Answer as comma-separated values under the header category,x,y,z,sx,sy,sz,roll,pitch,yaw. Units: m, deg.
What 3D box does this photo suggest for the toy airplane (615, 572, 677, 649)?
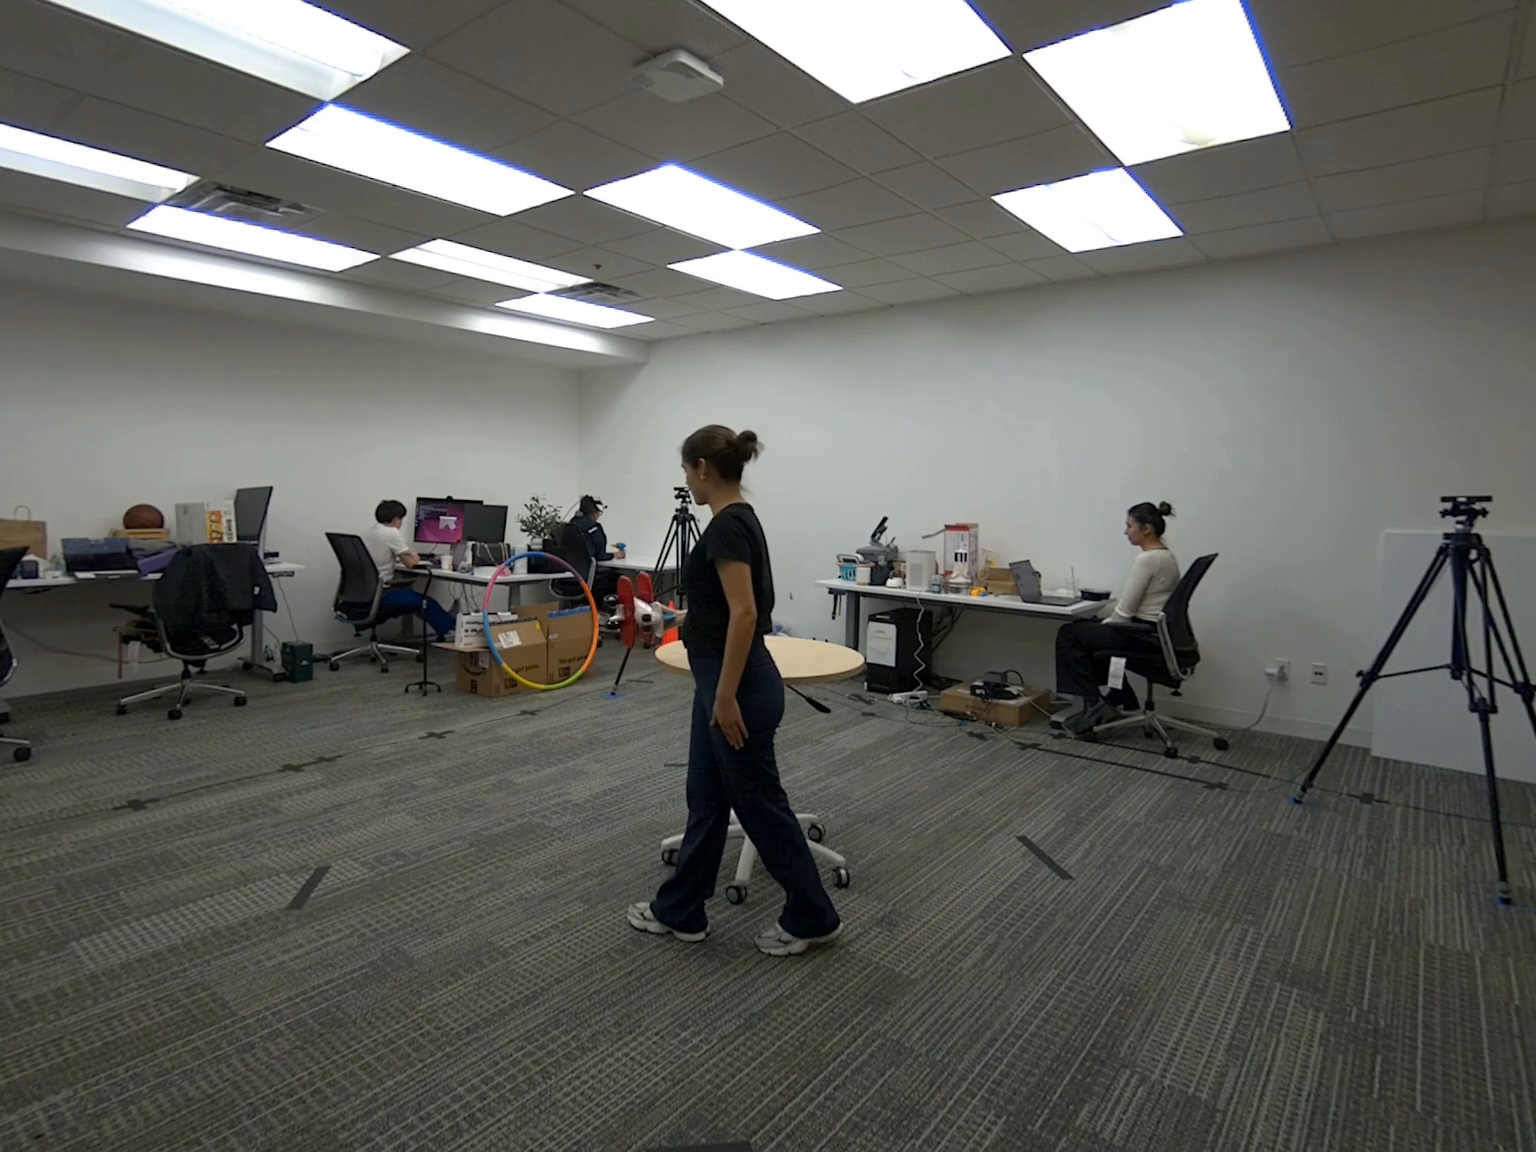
category,x,y,z,sx,sy,sz,roll,pitch,yaw
toy airplane,-0.429,0.136,2.973,0.268,0.247,0.153,38,34,26
